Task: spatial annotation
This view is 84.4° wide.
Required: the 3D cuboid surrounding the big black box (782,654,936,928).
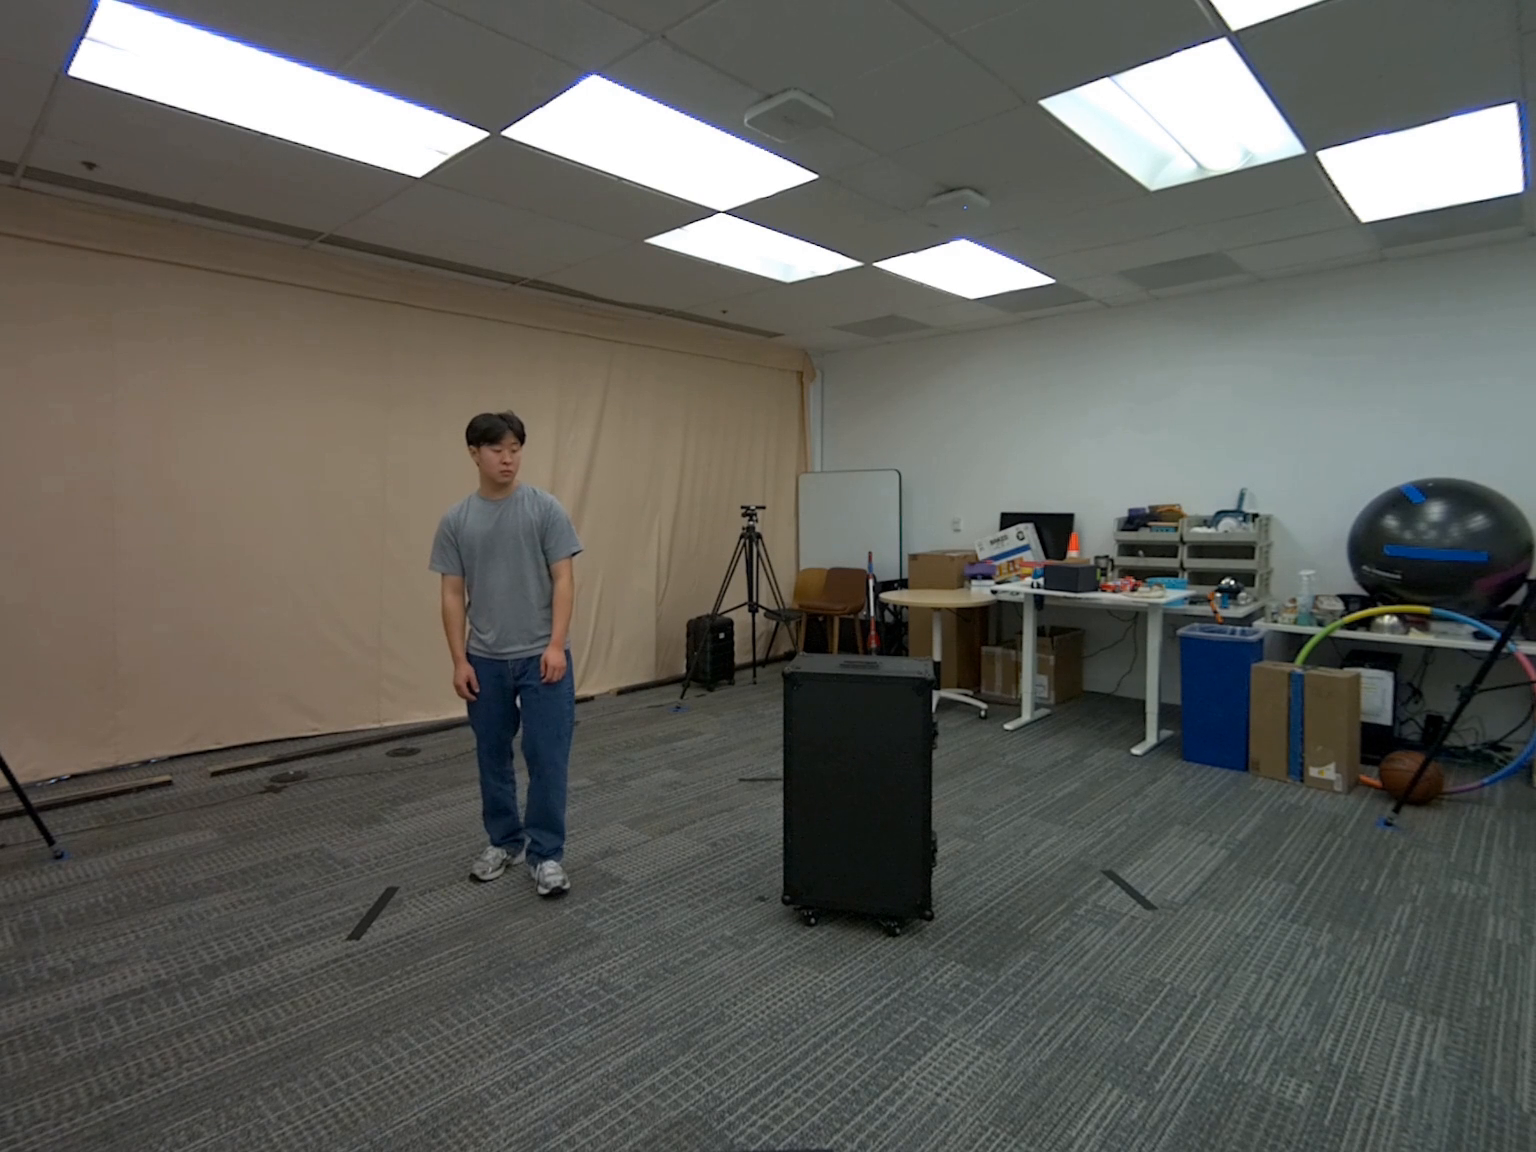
[{"bbox_3d":[0.321,0.726,2.895,0.529,0.860,0.391,0,2,14],"label":"big black box"}]
